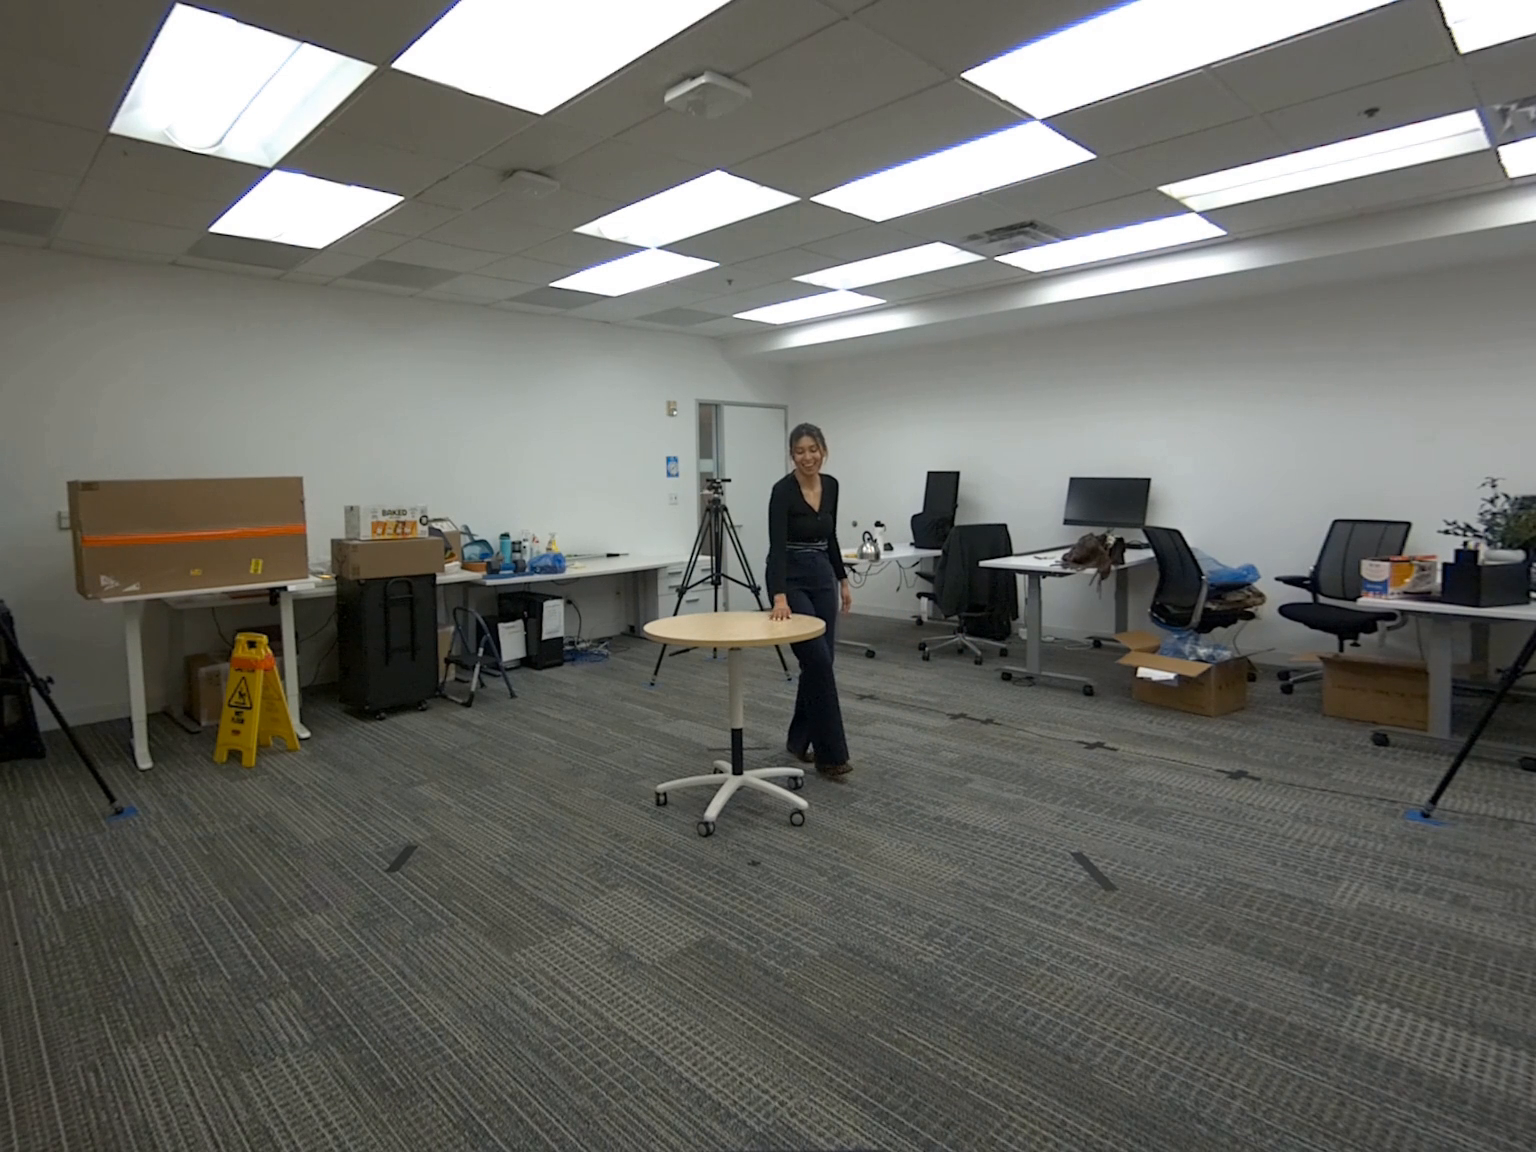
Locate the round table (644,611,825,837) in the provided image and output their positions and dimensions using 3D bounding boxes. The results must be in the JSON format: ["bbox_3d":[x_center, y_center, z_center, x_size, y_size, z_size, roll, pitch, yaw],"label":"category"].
[{"bbox_3d":[-0.130,0.597,3.631,0.763,0.791,0.767,-1,4,-2],"label":"round table"}]
